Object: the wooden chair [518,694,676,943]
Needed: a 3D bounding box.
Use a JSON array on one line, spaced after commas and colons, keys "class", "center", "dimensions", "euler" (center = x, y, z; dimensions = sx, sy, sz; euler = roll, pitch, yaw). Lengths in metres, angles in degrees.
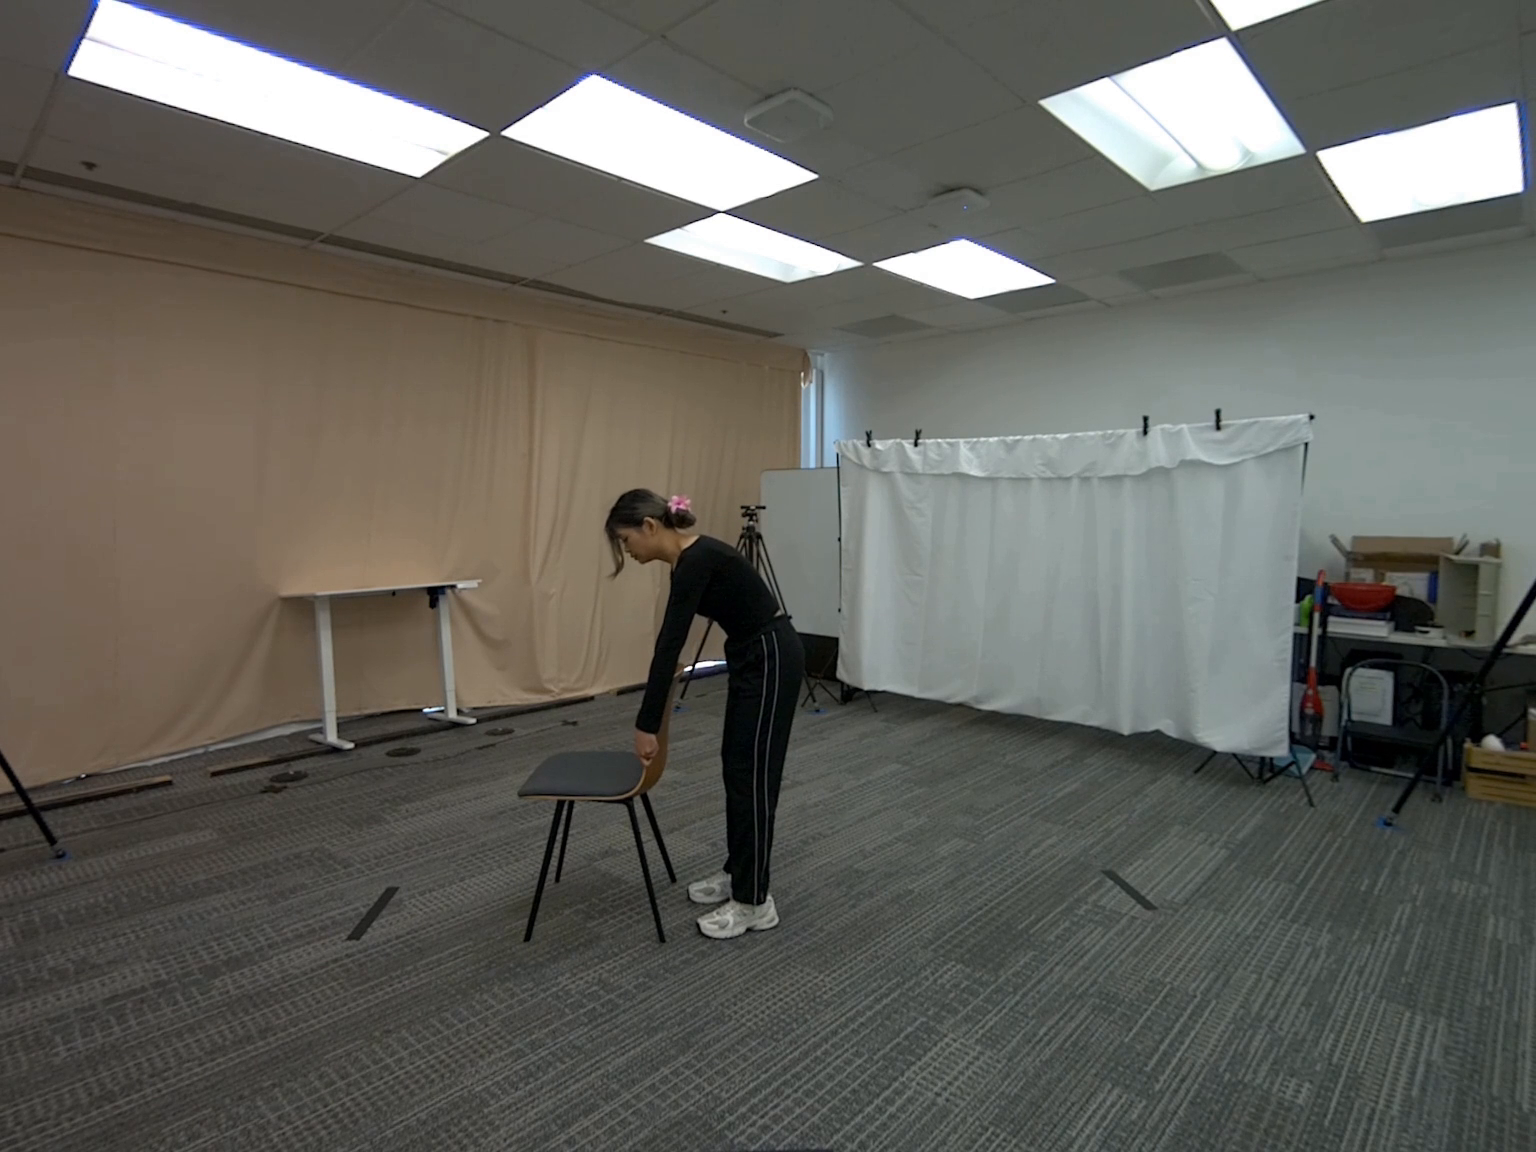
[{"class": "wooden chair", "center": [-0.570, 0.729, 2.883], "dimensions": [0.524, 0.875, 0.479], "euler": [4, 4, 0]}]
